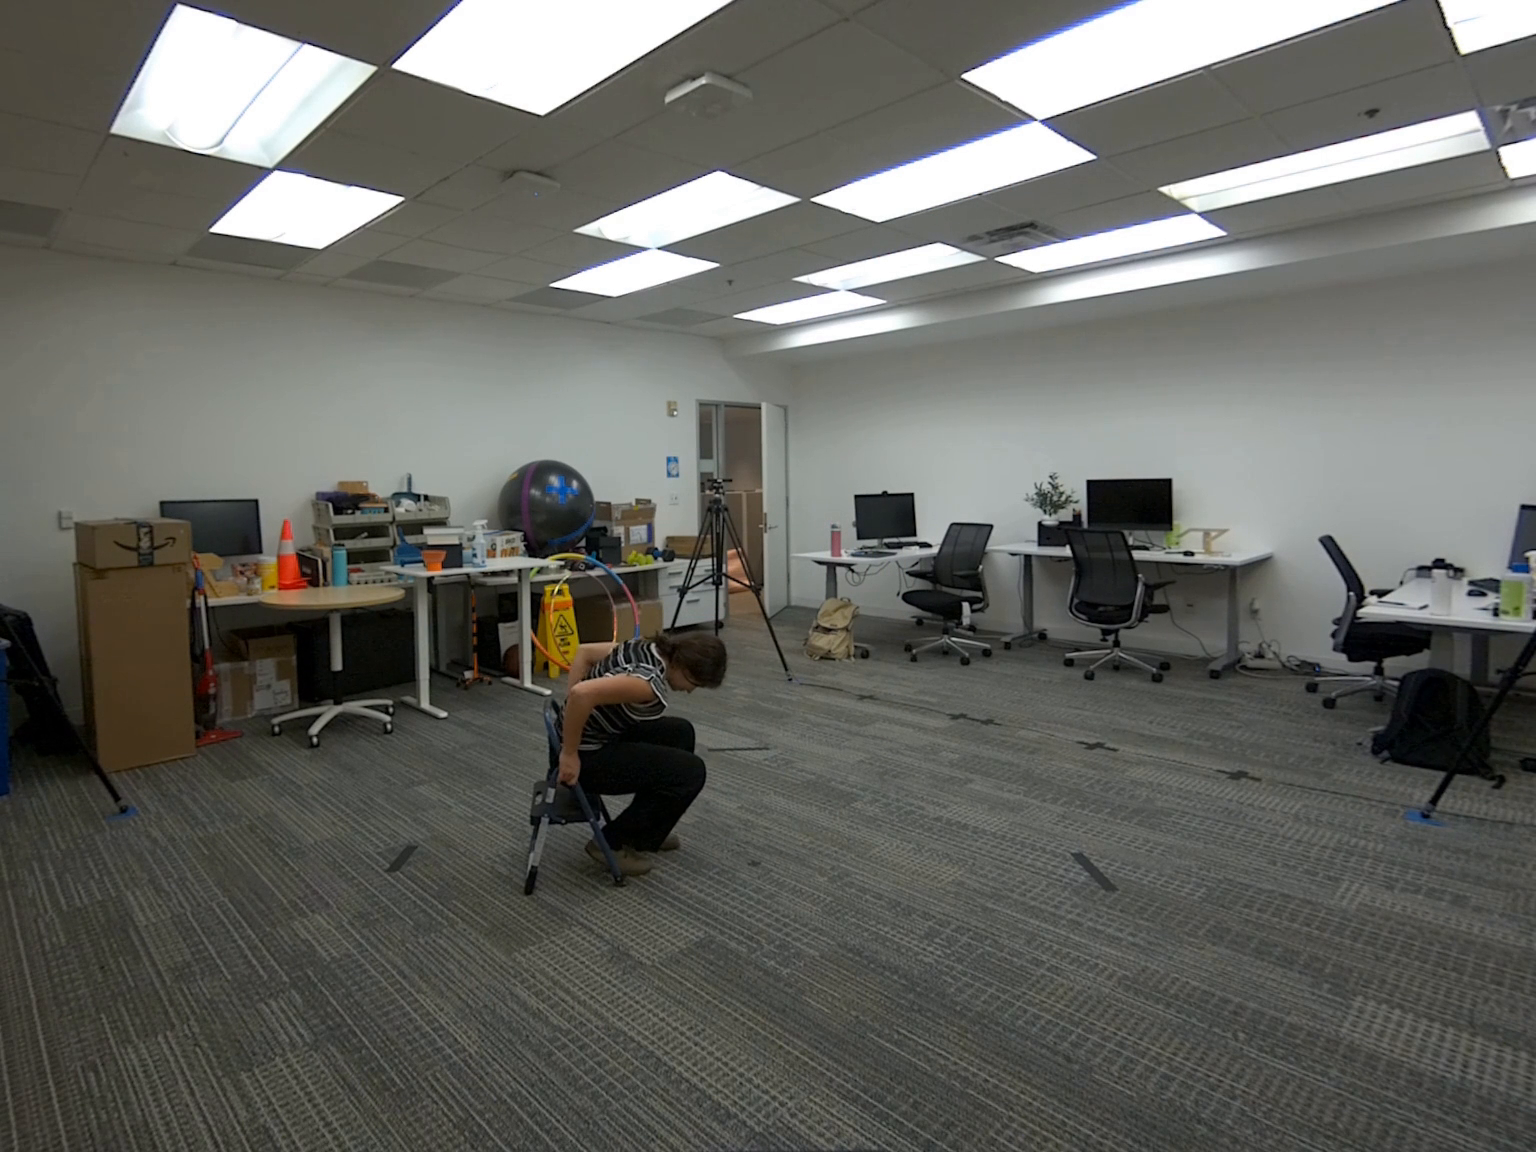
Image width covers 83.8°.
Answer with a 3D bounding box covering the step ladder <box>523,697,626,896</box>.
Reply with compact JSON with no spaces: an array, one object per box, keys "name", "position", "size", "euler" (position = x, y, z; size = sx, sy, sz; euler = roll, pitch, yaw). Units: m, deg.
[{"name":"step ladder","position":[-0.712,0.757,3.109],"size":[0.345,0.604,0.437],"euler":[-2,5,-12]}]
